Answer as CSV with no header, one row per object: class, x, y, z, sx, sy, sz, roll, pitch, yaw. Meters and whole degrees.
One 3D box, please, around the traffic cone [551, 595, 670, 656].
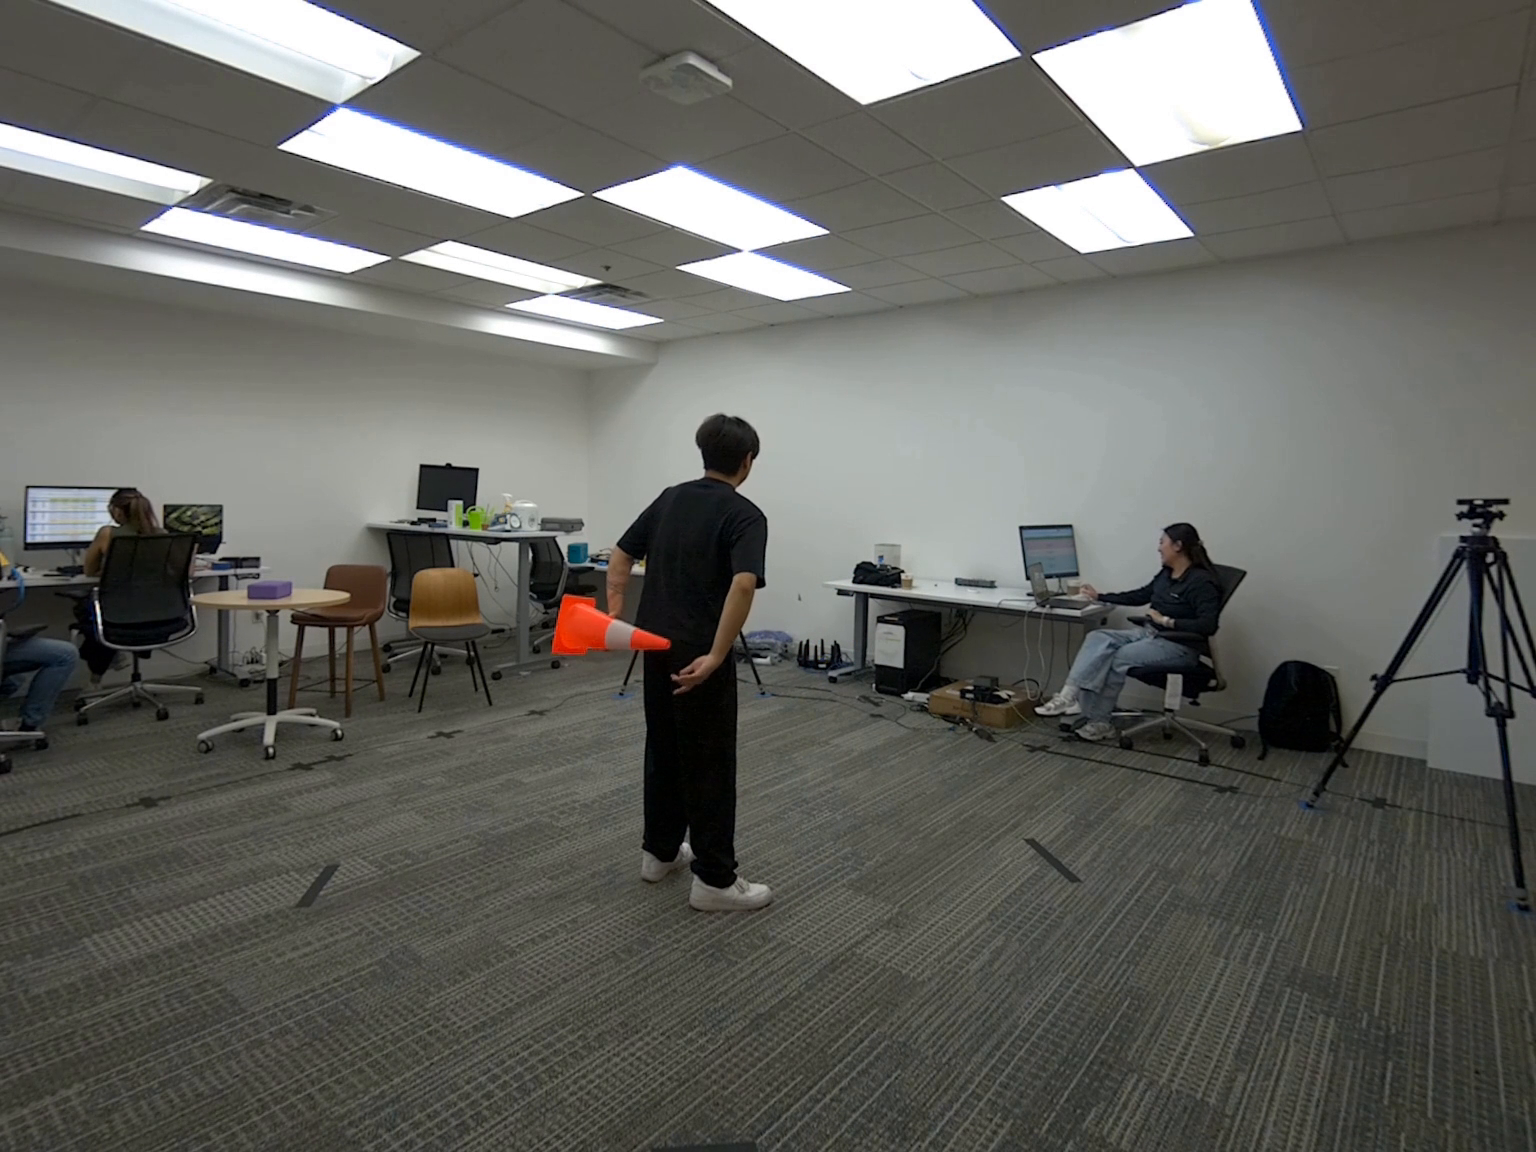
traffic cone,-0.504,0.200,2.819,0.395,0.205,0.197,10,-4,26
